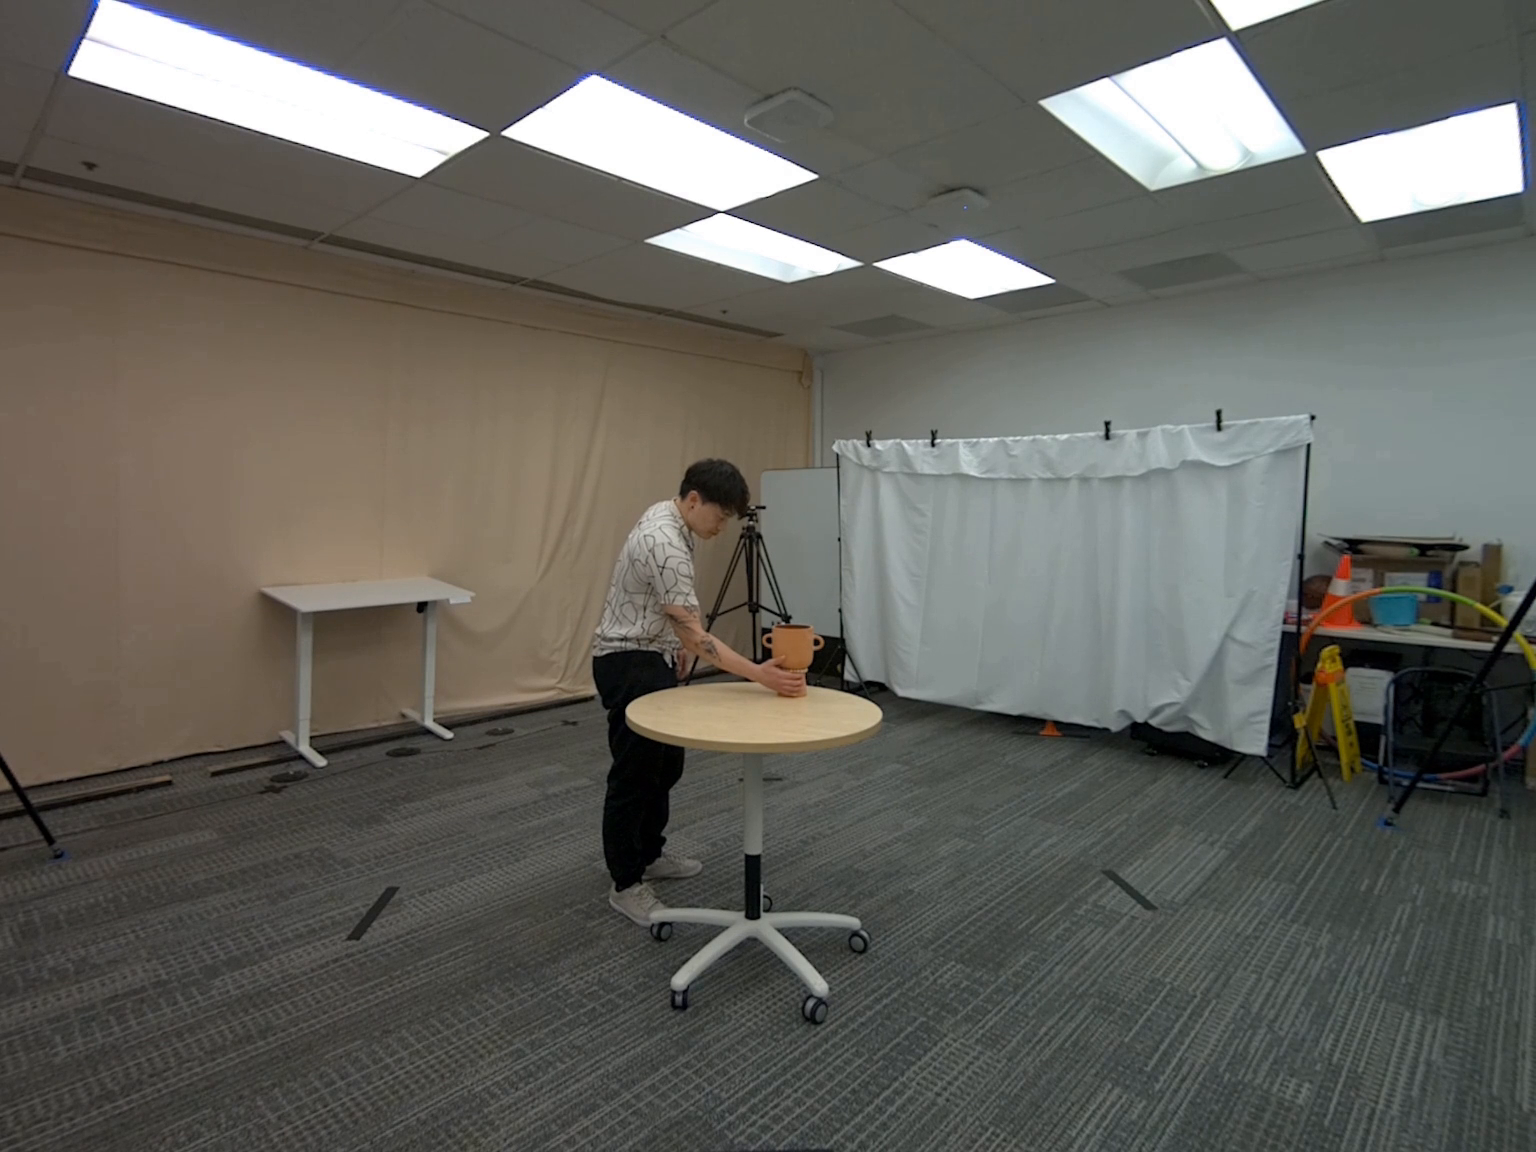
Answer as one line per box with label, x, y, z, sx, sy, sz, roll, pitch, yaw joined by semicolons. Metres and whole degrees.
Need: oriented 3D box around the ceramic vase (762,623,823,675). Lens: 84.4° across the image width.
ceramic vase;0.086;0.276;2.720;0.130;0.219;0.164;-2;3;-42
